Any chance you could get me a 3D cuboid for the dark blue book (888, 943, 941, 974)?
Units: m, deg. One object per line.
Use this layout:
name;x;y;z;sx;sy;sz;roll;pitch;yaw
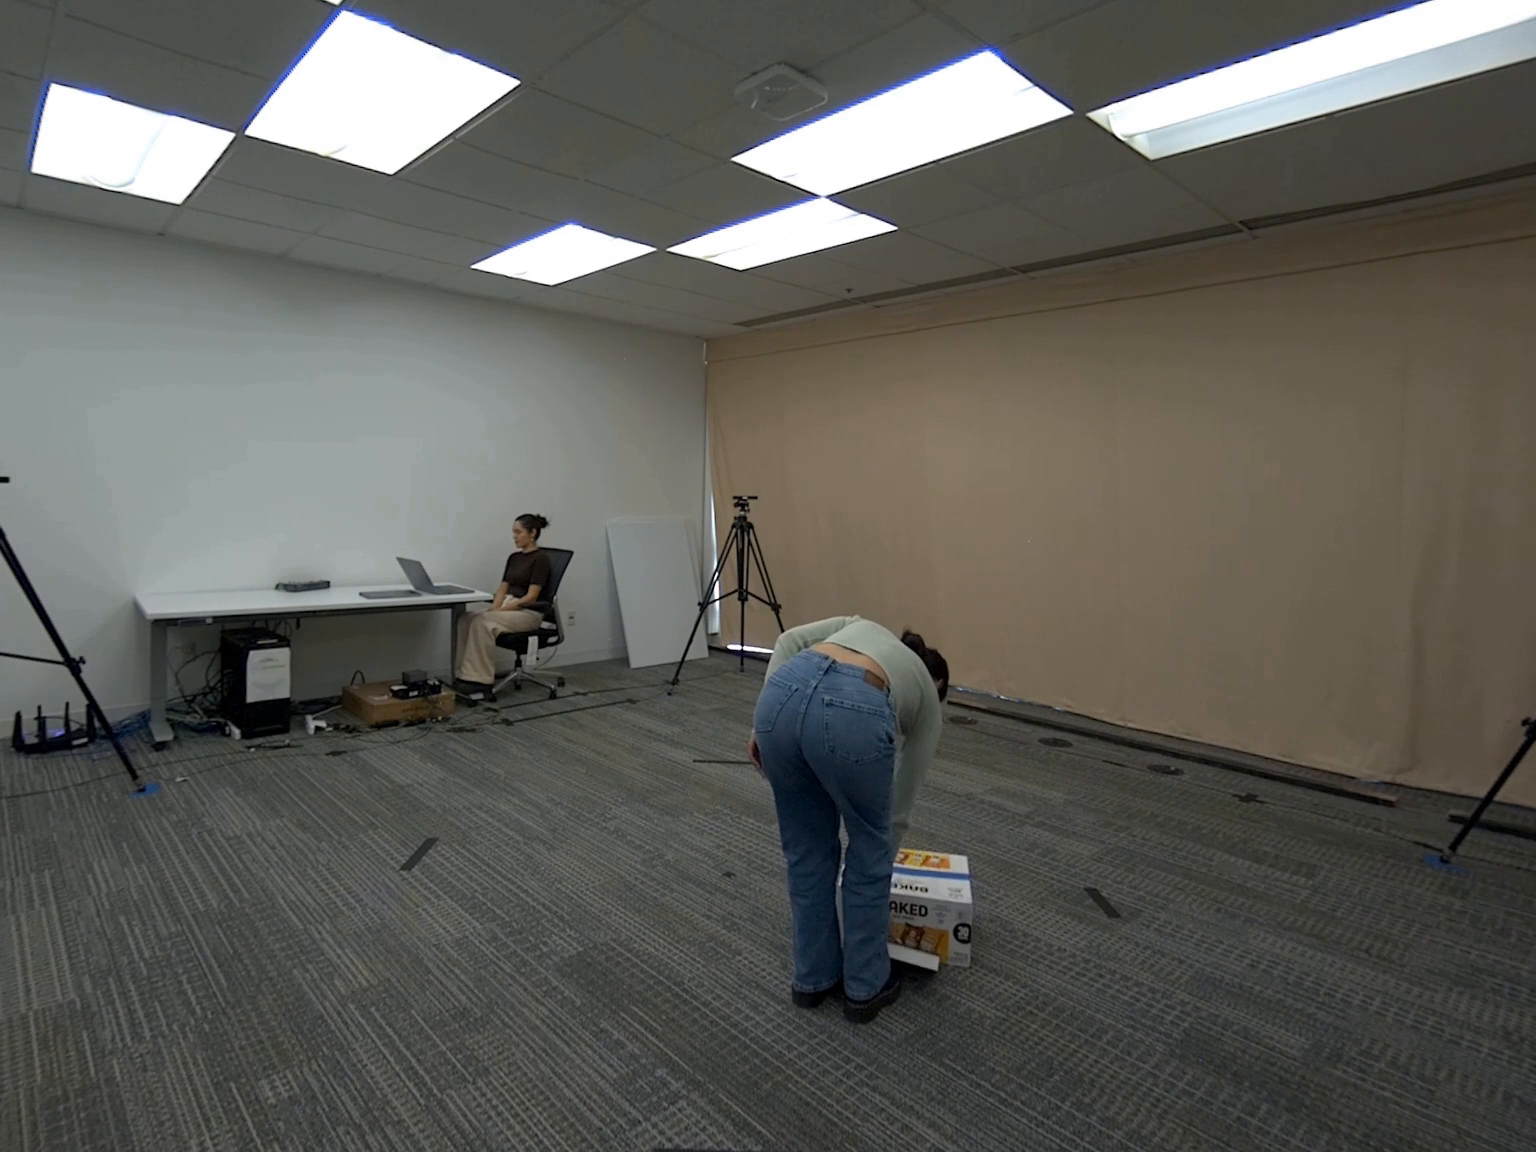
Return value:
dark blue book;0.375;1.119;2.491;0.248;0.045;0.160;11;-18;14
